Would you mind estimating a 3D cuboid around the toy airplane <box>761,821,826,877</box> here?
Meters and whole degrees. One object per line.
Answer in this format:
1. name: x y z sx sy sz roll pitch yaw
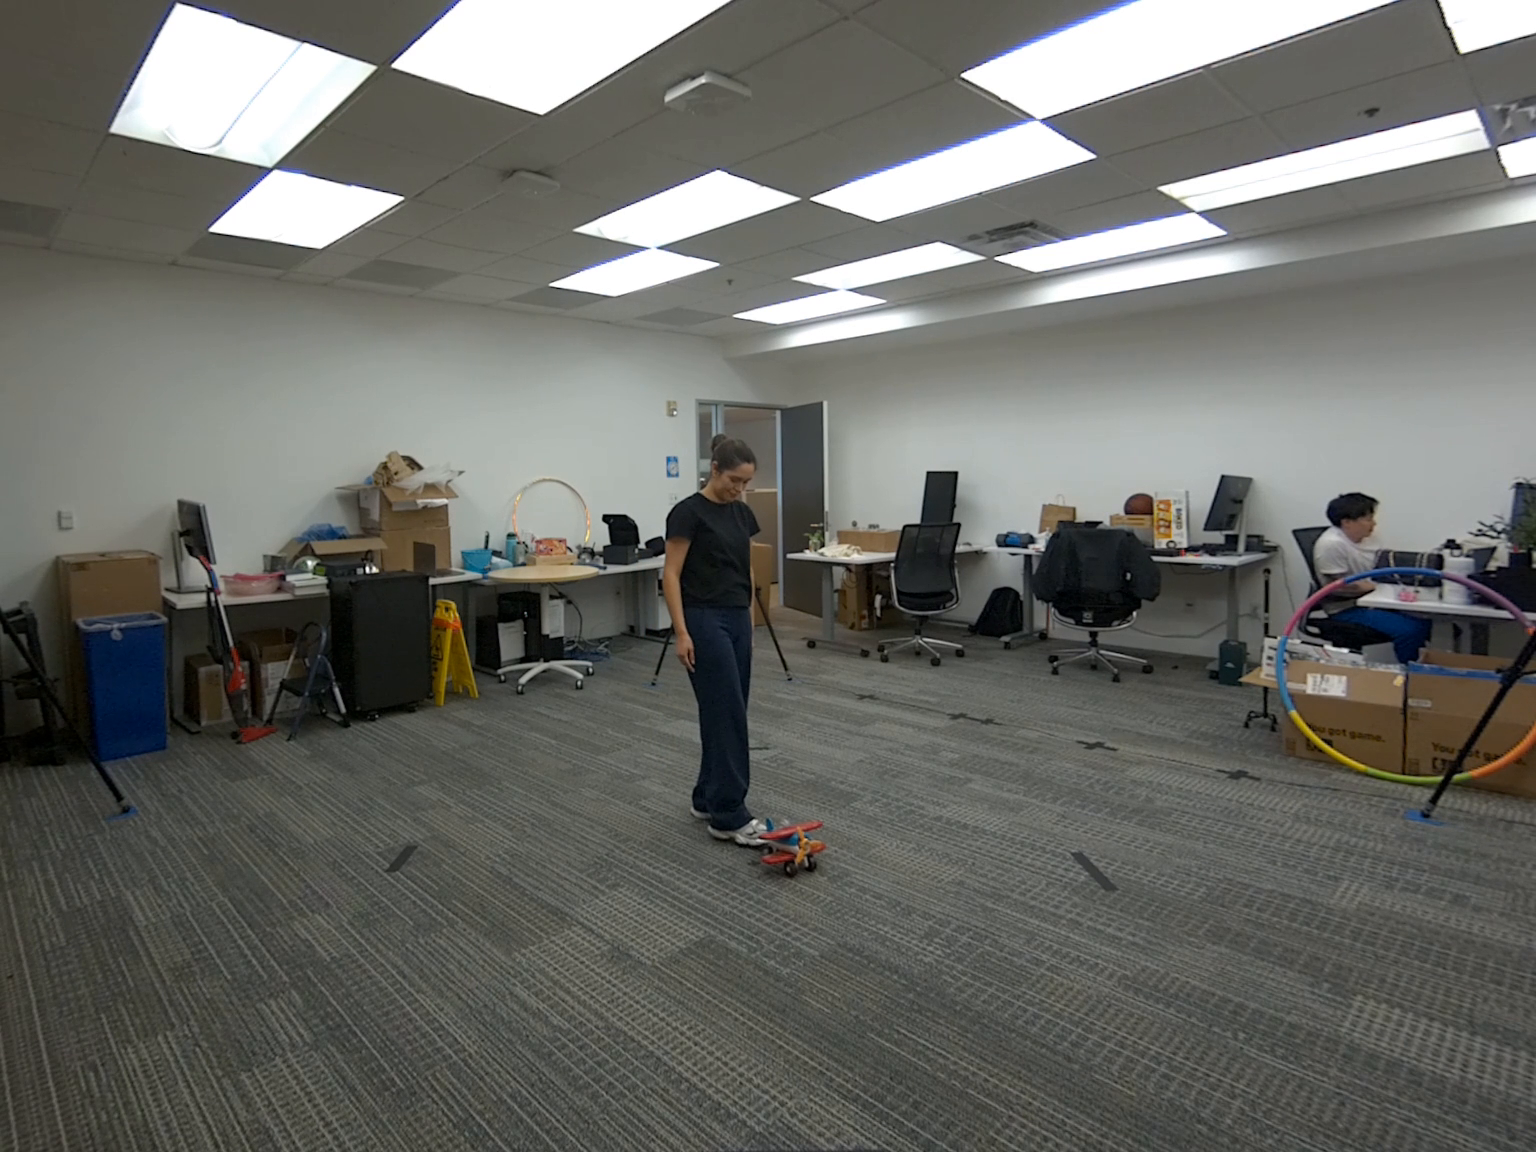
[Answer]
1. toy airplane: 0.057 0.968 3.093 0.266 0.156 0.245 4 7 30
